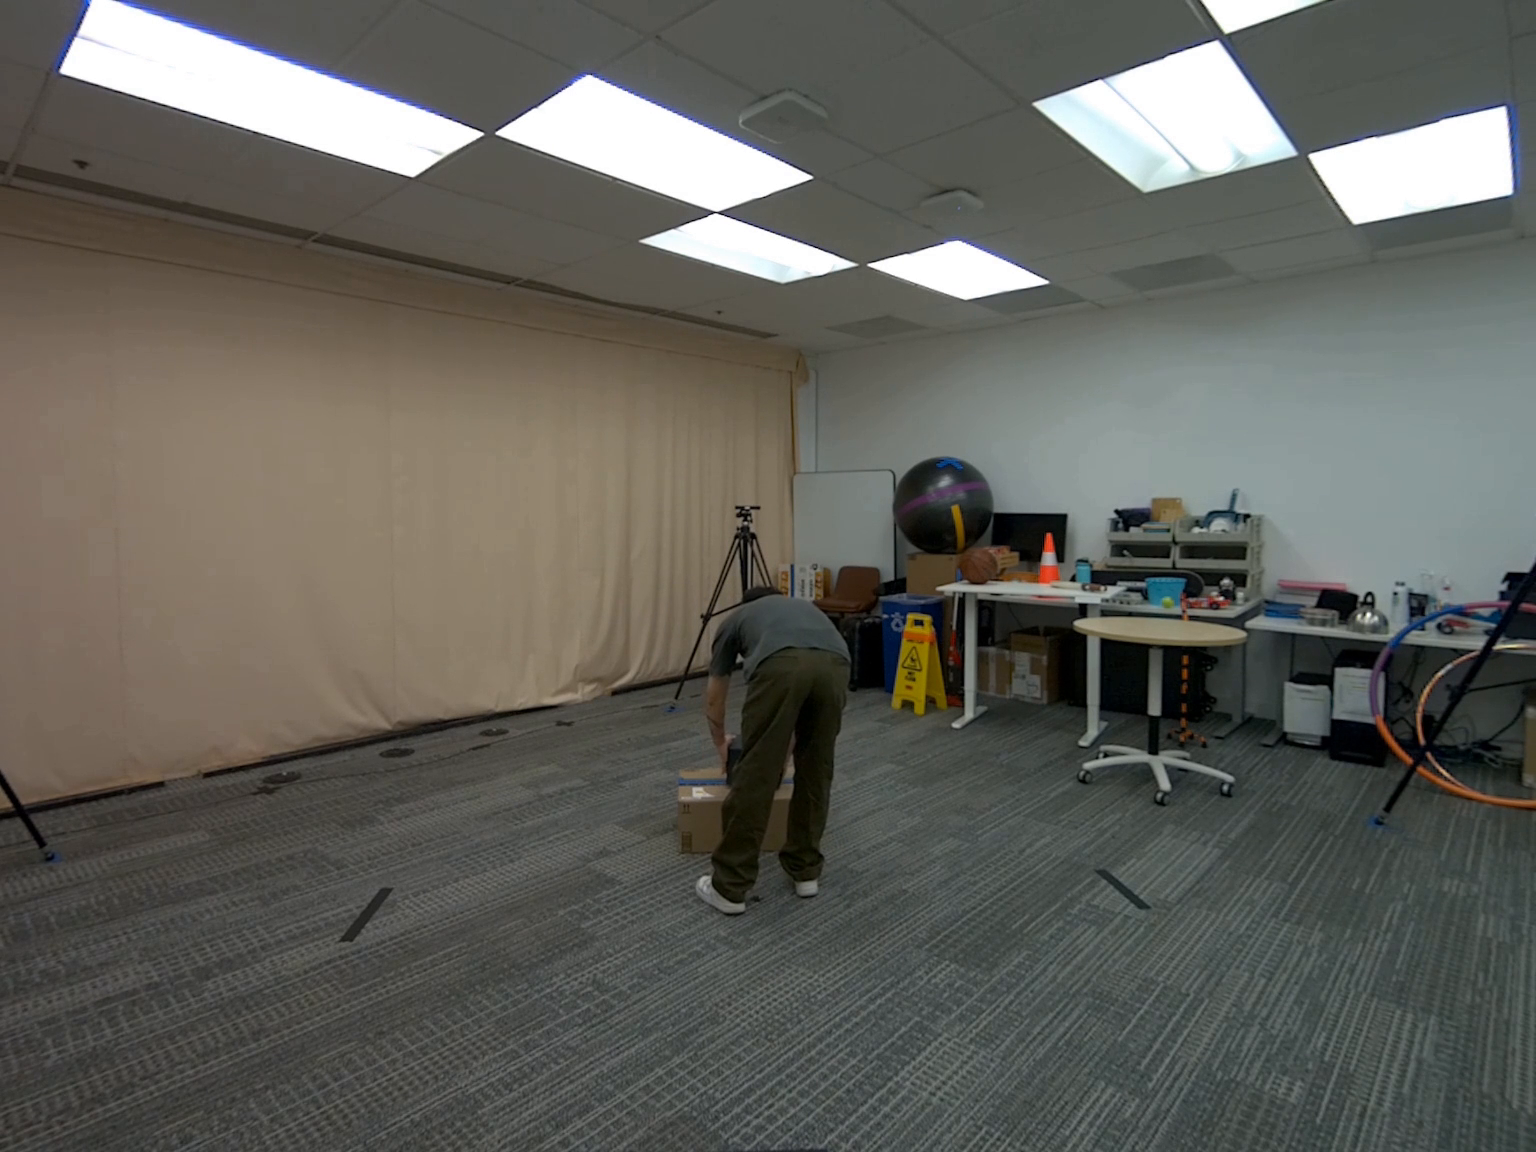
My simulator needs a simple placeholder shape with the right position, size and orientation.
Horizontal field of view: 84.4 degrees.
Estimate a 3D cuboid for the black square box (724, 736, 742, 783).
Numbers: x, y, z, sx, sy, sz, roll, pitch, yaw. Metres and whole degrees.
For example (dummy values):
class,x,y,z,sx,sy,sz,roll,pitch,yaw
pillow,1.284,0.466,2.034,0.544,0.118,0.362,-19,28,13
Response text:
class,x,y,z,sx,sy,sz,roll,pitch,yaw
black square box,-0.055,0.781,3.584,0.229,0.155,0.217,1,5,3
